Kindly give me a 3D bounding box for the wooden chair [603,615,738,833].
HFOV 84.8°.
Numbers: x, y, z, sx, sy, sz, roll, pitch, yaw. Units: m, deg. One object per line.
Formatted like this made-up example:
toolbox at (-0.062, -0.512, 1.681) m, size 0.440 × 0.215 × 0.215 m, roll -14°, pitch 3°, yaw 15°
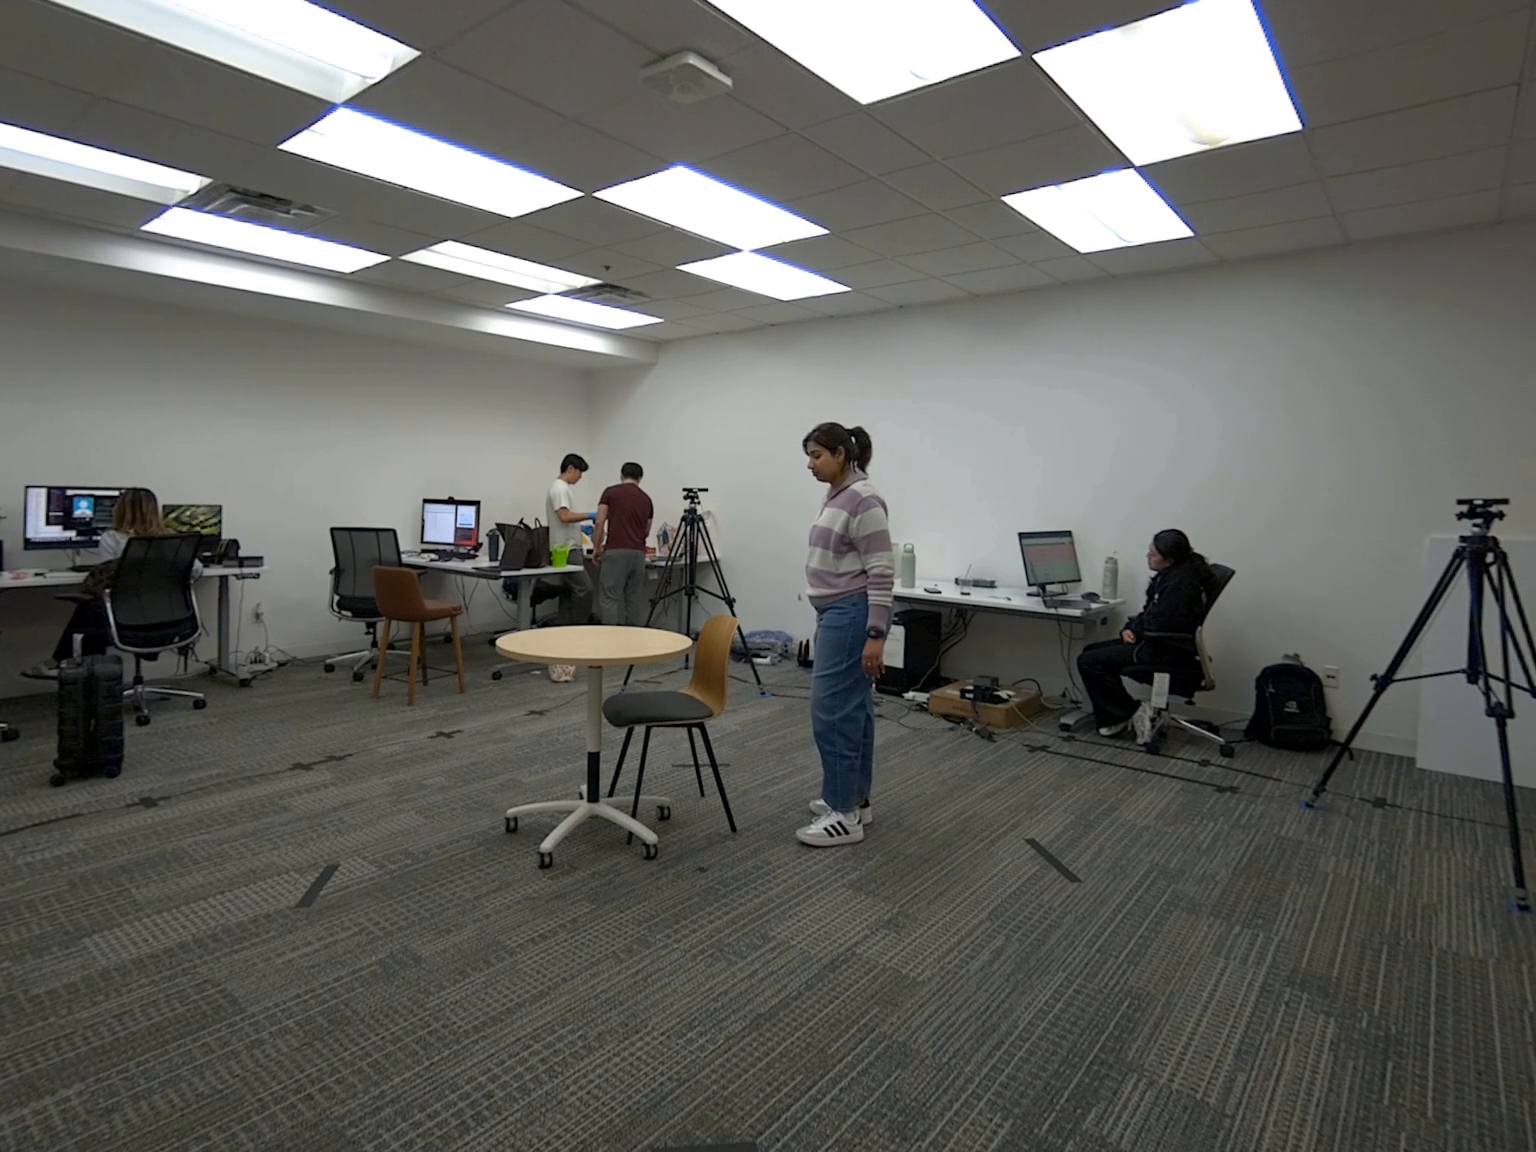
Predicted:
wooden chair at (-0.429, 0.595, 3.560) m, size 0.511 × 0.876 × 0.490 m, roll 4°, pitch 3°, yaw -22°
